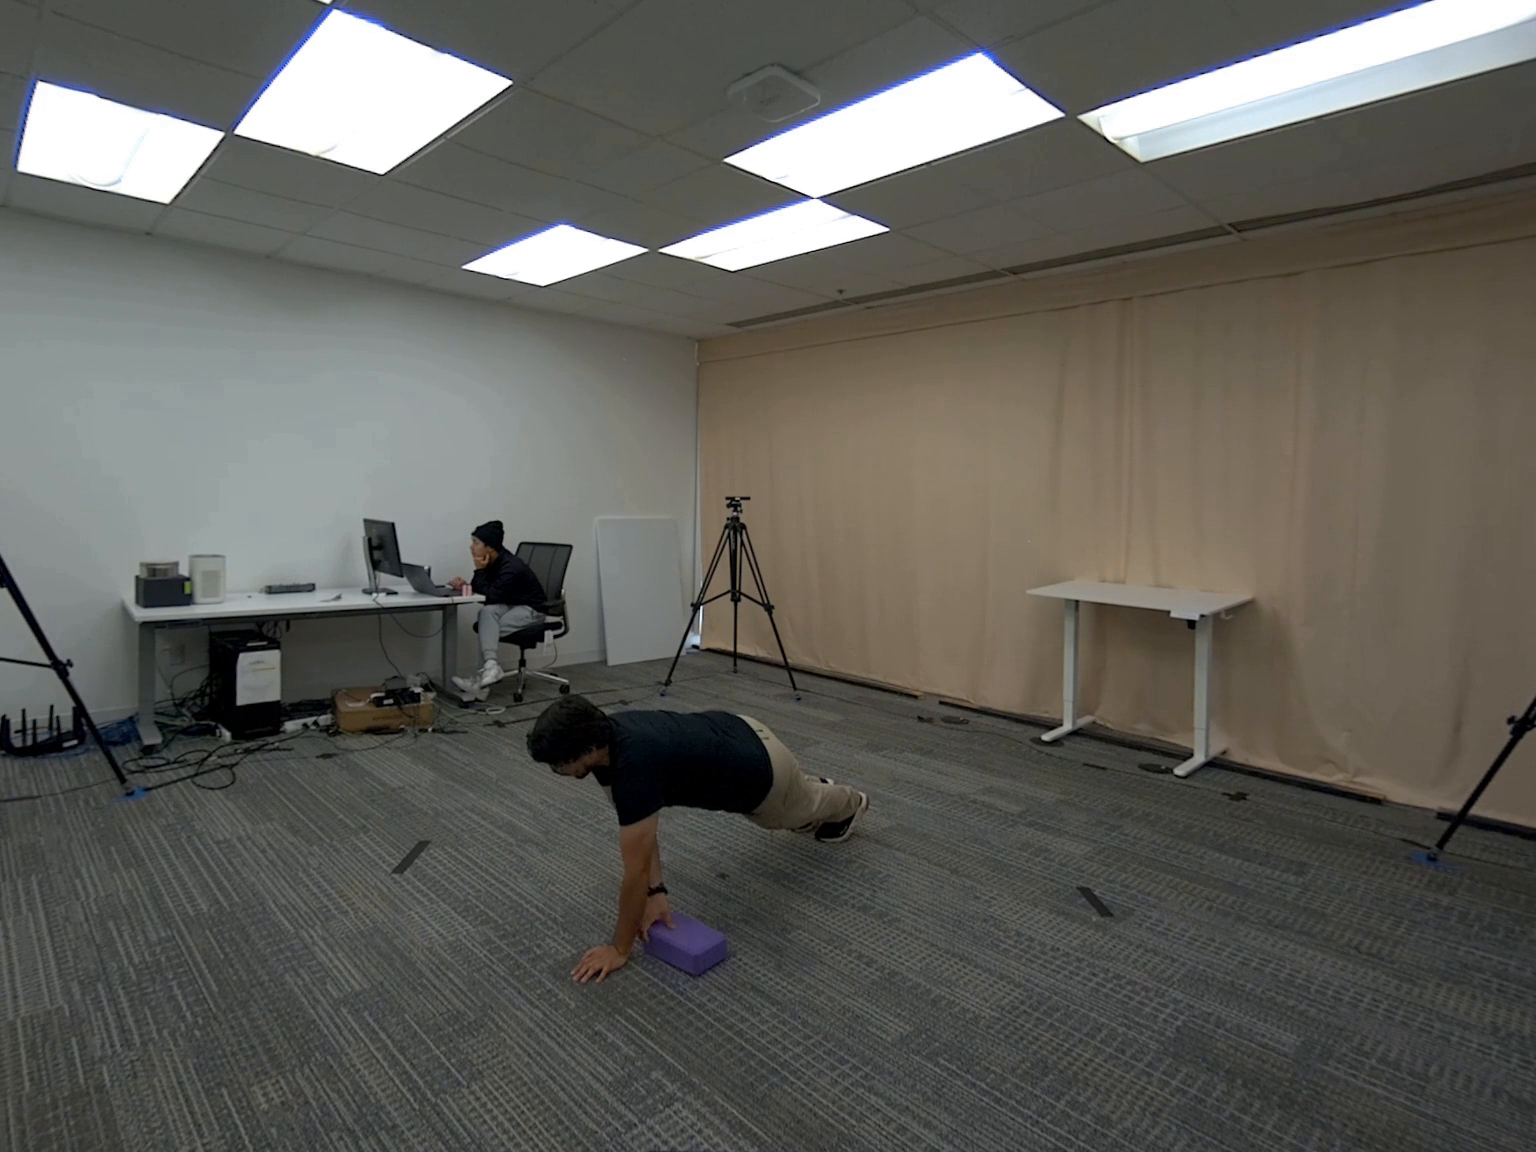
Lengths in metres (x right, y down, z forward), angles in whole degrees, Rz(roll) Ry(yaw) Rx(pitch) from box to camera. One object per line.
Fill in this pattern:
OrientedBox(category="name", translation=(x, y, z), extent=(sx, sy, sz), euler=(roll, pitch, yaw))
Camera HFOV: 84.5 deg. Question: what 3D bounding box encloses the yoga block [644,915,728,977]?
OrientedBox(category="yoga block", translation=(-0.260, 1.116, 2.553), extent=(0.235, 0.076, 0.146), euler=(4, 7, 40))
